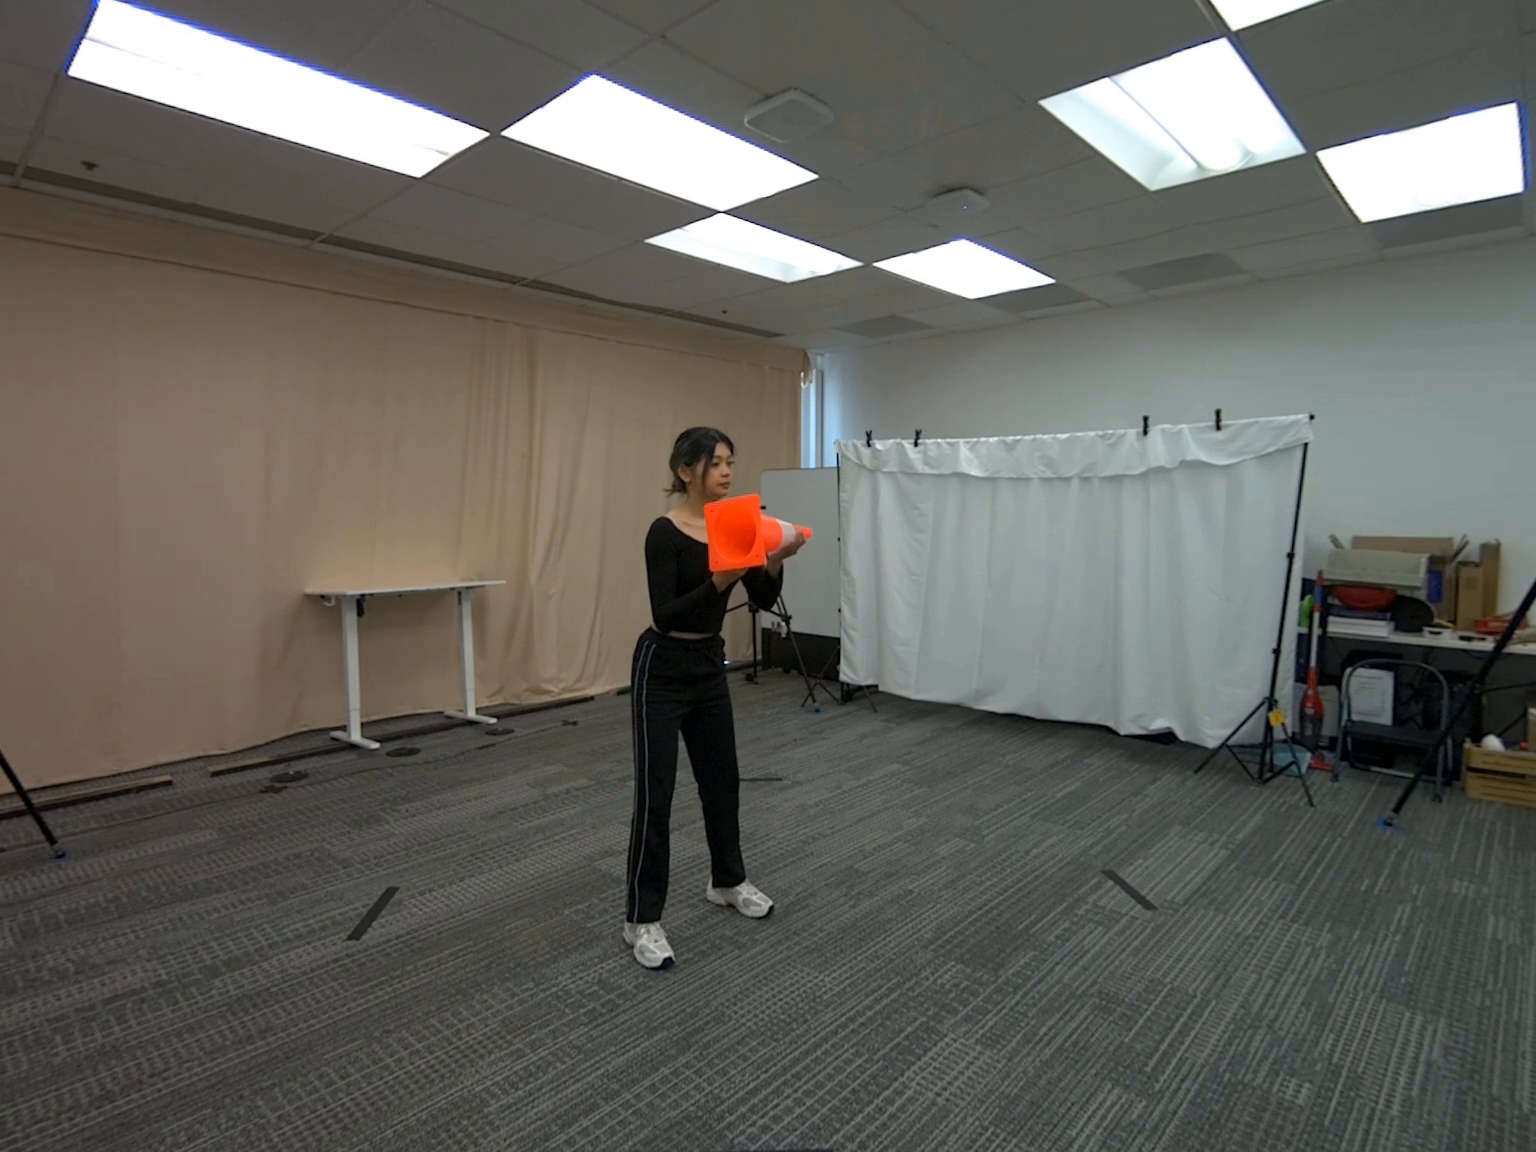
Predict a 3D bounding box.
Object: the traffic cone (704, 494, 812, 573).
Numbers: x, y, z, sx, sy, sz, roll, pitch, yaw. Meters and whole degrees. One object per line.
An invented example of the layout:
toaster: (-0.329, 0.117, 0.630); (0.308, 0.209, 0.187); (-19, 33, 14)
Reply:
traffic cone: (0.015, -0.122, 2.522); (0.209, 0.205, 0.372); (-10, -4, 37)
